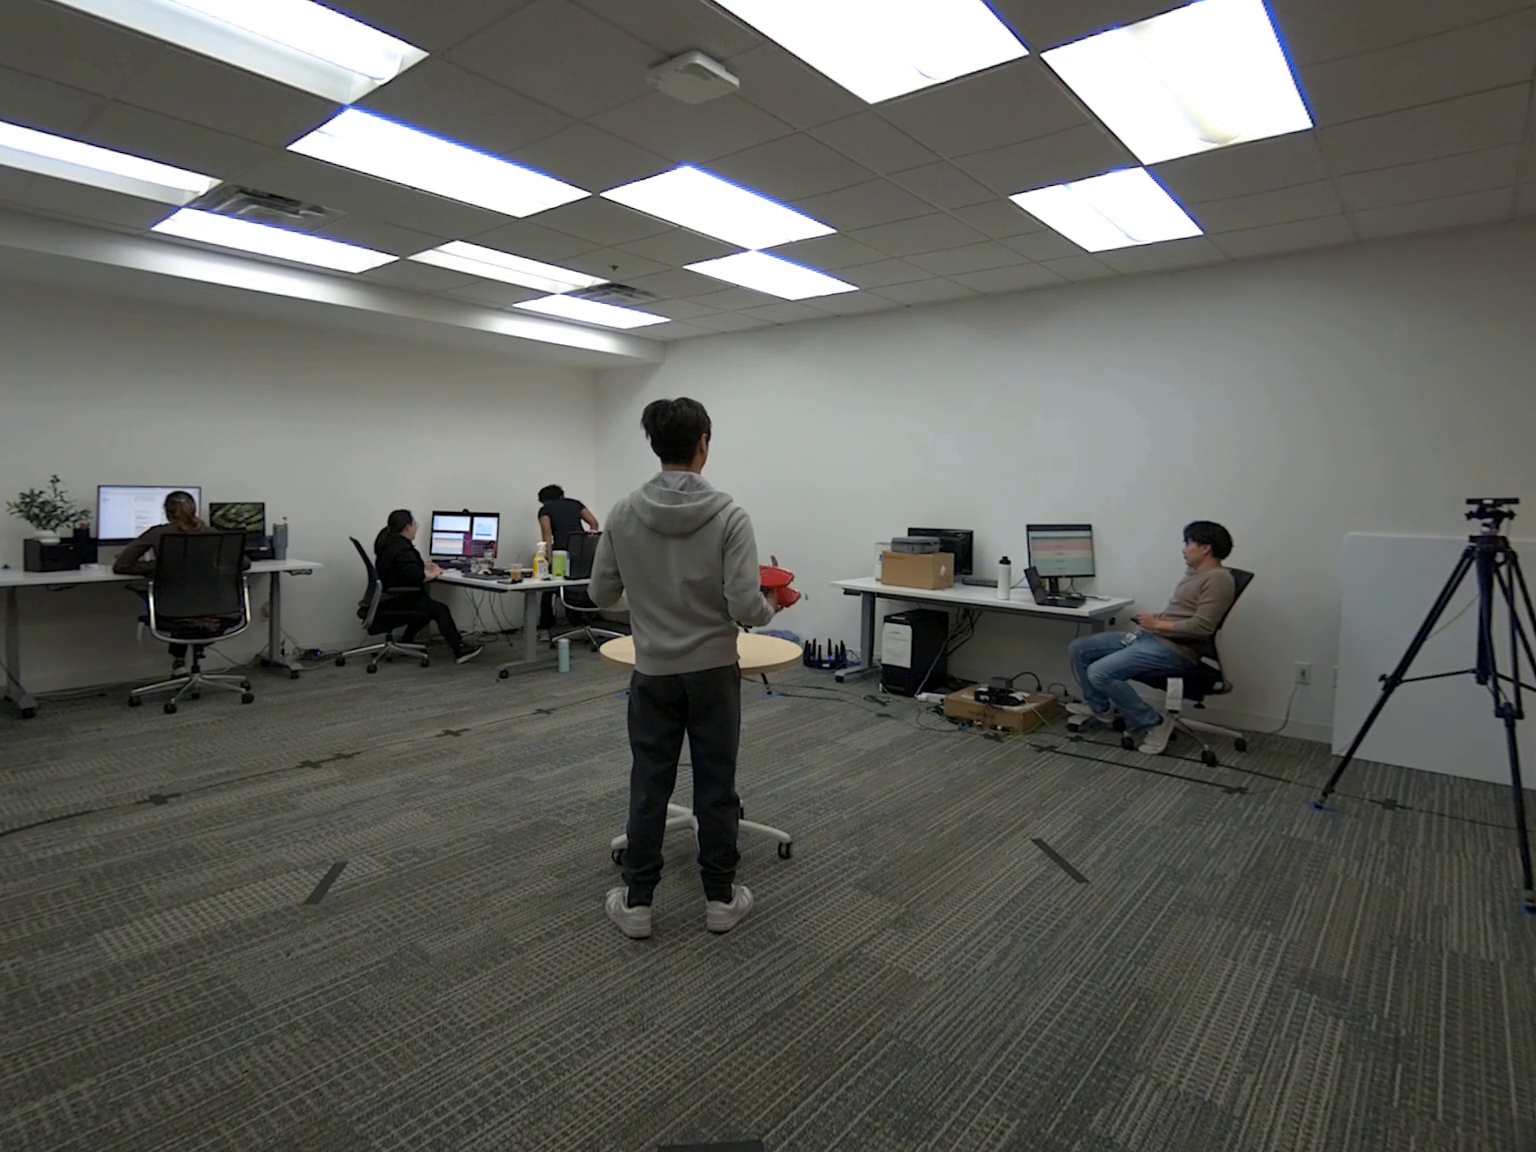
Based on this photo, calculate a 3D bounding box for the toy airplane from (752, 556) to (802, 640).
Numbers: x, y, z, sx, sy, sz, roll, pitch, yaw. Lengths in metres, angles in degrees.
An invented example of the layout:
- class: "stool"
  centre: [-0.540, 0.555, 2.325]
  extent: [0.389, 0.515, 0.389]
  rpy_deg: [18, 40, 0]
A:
- class: "toy airplane"
  centre: [-0.025, 0.052, 2.861]
  extent: [0.254, 0.153, 0.261]
  rpy_deg: [-6, 21, 12]
